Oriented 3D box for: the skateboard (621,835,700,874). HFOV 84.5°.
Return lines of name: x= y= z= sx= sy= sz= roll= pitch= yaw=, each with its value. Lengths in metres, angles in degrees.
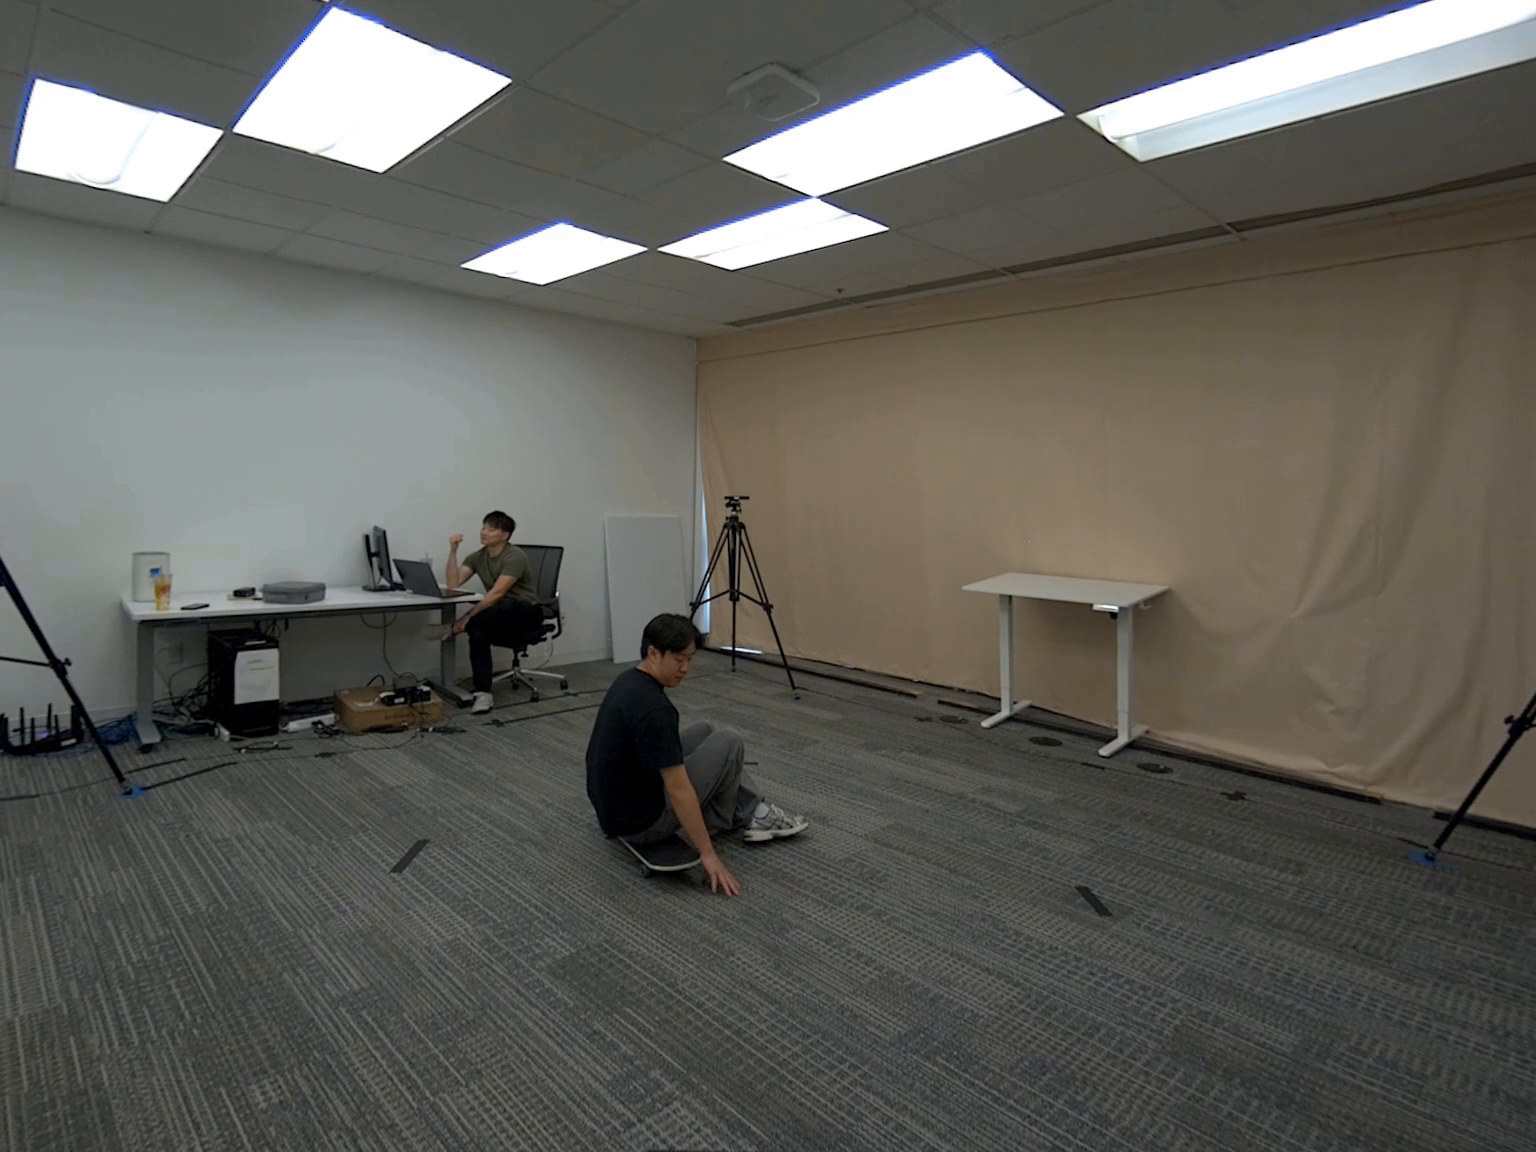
skateboard: x=-0.490 y=1.027 z=3.290 sx=0.190 sy=0.110 sz=0.803 roll=-7 pitch=8 yaw=-29
